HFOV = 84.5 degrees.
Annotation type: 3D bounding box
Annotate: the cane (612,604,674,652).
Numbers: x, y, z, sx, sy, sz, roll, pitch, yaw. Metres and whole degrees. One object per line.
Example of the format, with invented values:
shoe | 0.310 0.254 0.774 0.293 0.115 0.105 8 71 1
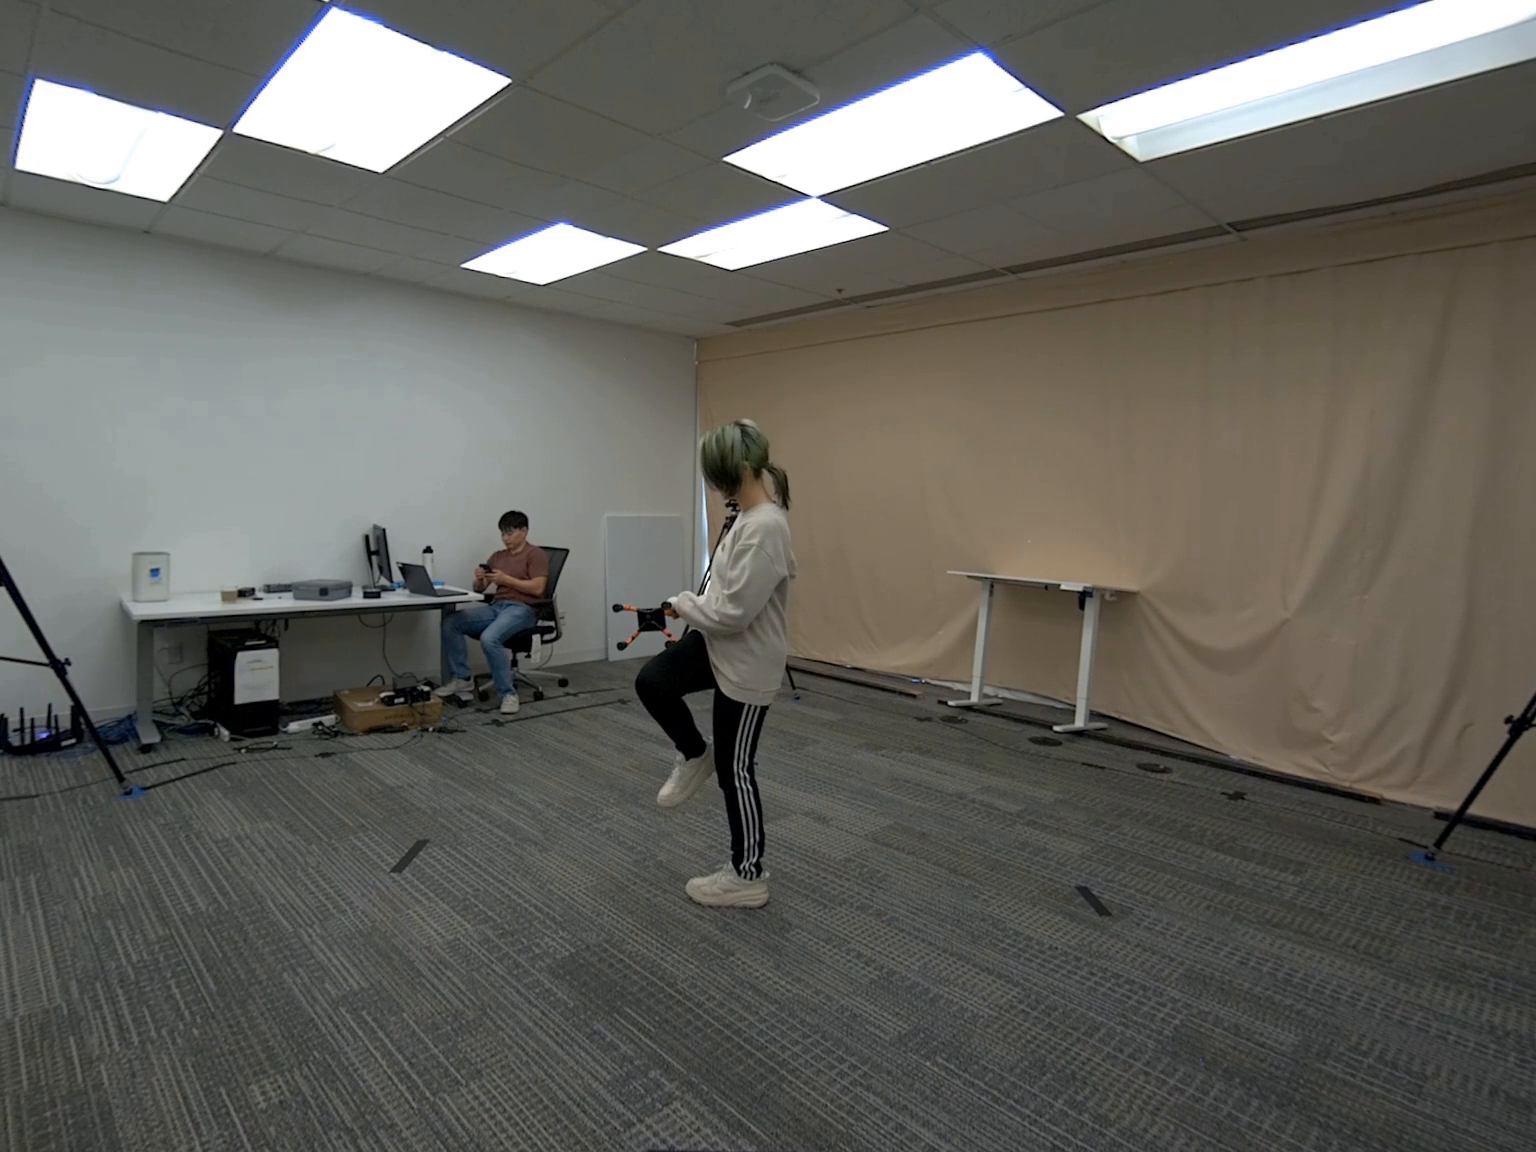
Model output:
cane | -0.263 0.108 3.080 0.209 0.151 0.897 -4 5 20
